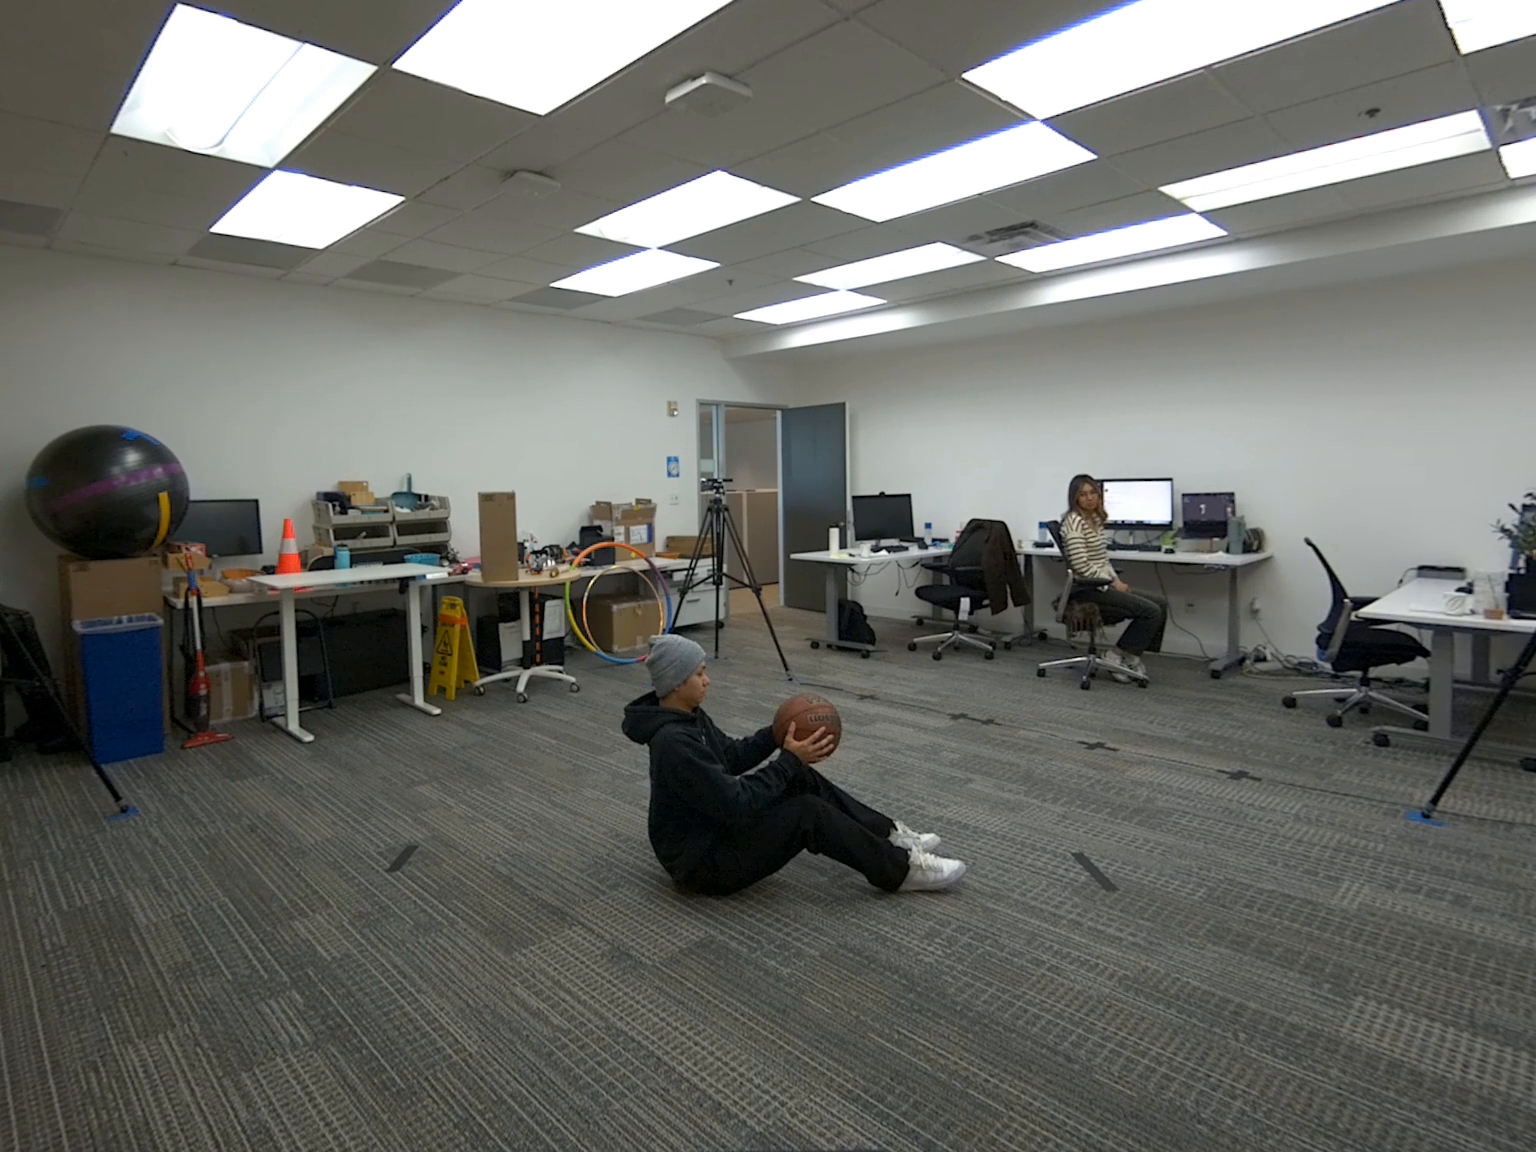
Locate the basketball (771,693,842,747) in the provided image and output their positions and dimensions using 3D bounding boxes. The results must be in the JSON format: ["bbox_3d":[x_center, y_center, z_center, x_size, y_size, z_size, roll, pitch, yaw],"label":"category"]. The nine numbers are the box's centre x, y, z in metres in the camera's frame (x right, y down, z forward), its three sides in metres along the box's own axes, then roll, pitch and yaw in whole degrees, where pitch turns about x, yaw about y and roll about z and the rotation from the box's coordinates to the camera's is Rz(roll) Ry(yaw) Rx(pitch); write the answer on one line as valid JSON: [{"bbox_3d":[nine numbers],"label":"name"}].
[{"bbox_3d":[0.131,0.528,2.952,0.236,0.235,0.237,-1,5,-2],"label":"basketball"}]
